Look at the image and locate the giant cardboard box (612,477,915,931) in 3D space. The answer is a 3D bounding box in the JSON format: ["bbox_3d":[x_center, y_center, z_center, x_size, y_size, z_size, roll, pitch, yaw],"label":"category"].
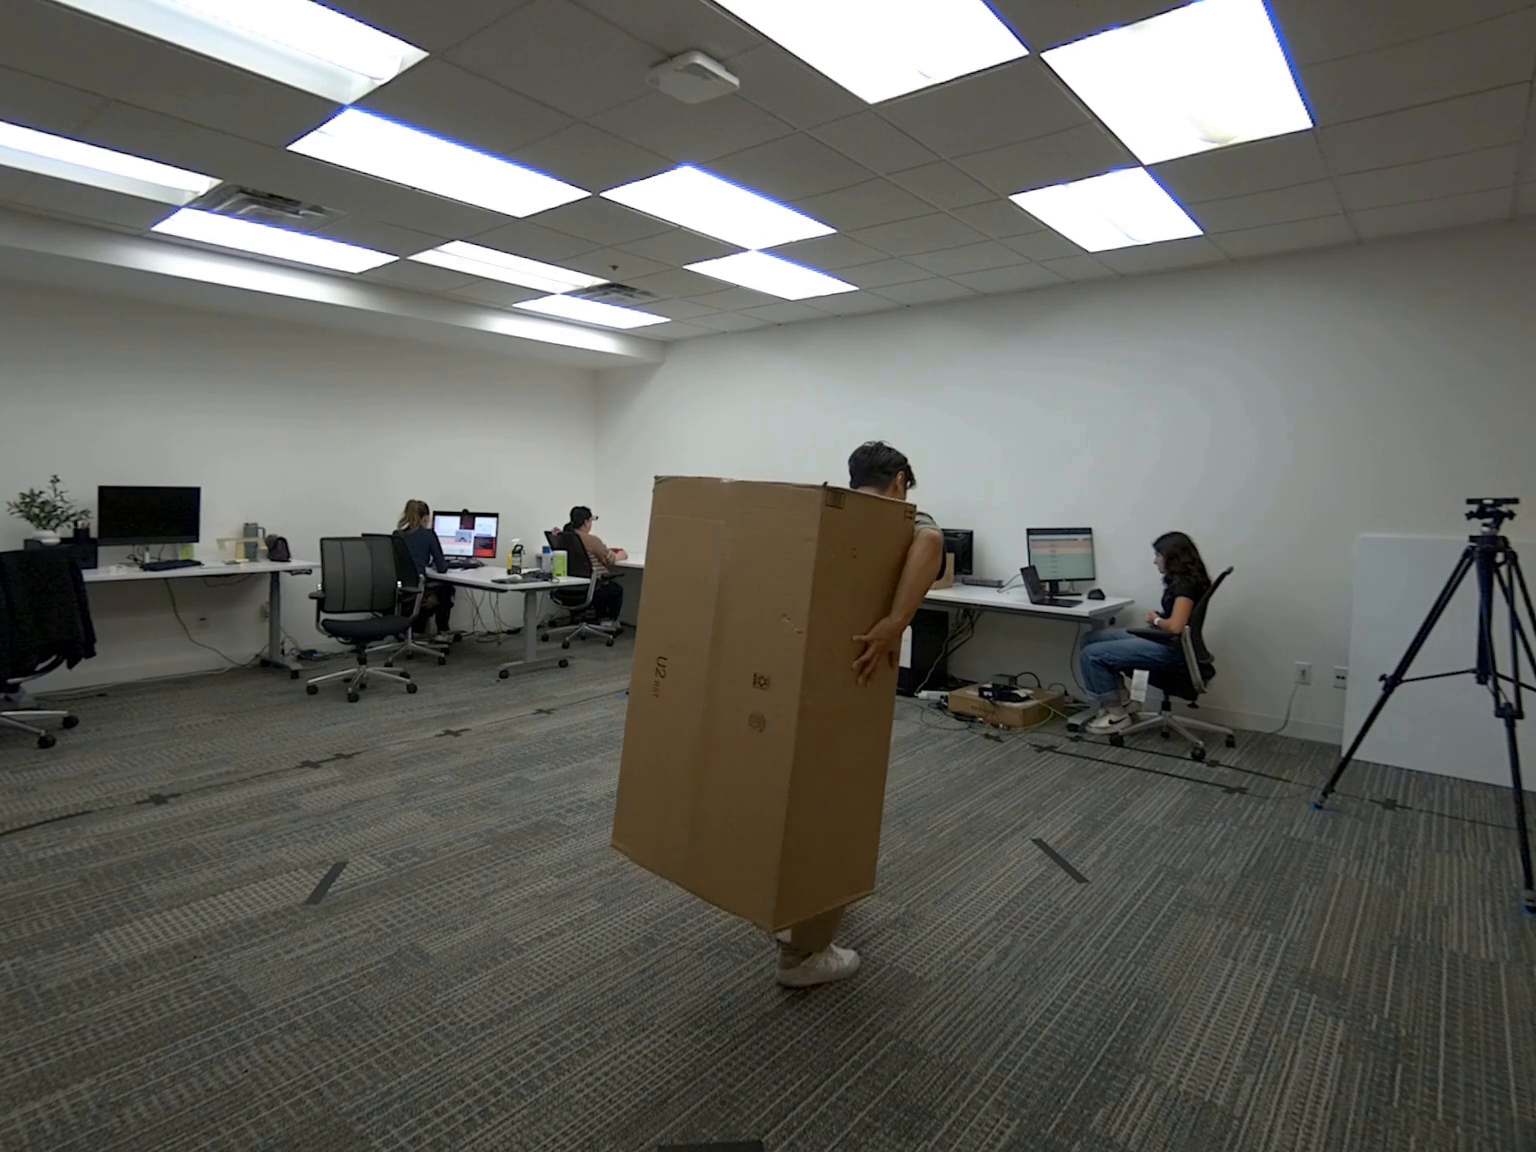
[{"bbox_3d":[-0.025,0.278,2.260,0.597,1.026,0.411,6,-1,41],"label":"giant cardboard box"}]
